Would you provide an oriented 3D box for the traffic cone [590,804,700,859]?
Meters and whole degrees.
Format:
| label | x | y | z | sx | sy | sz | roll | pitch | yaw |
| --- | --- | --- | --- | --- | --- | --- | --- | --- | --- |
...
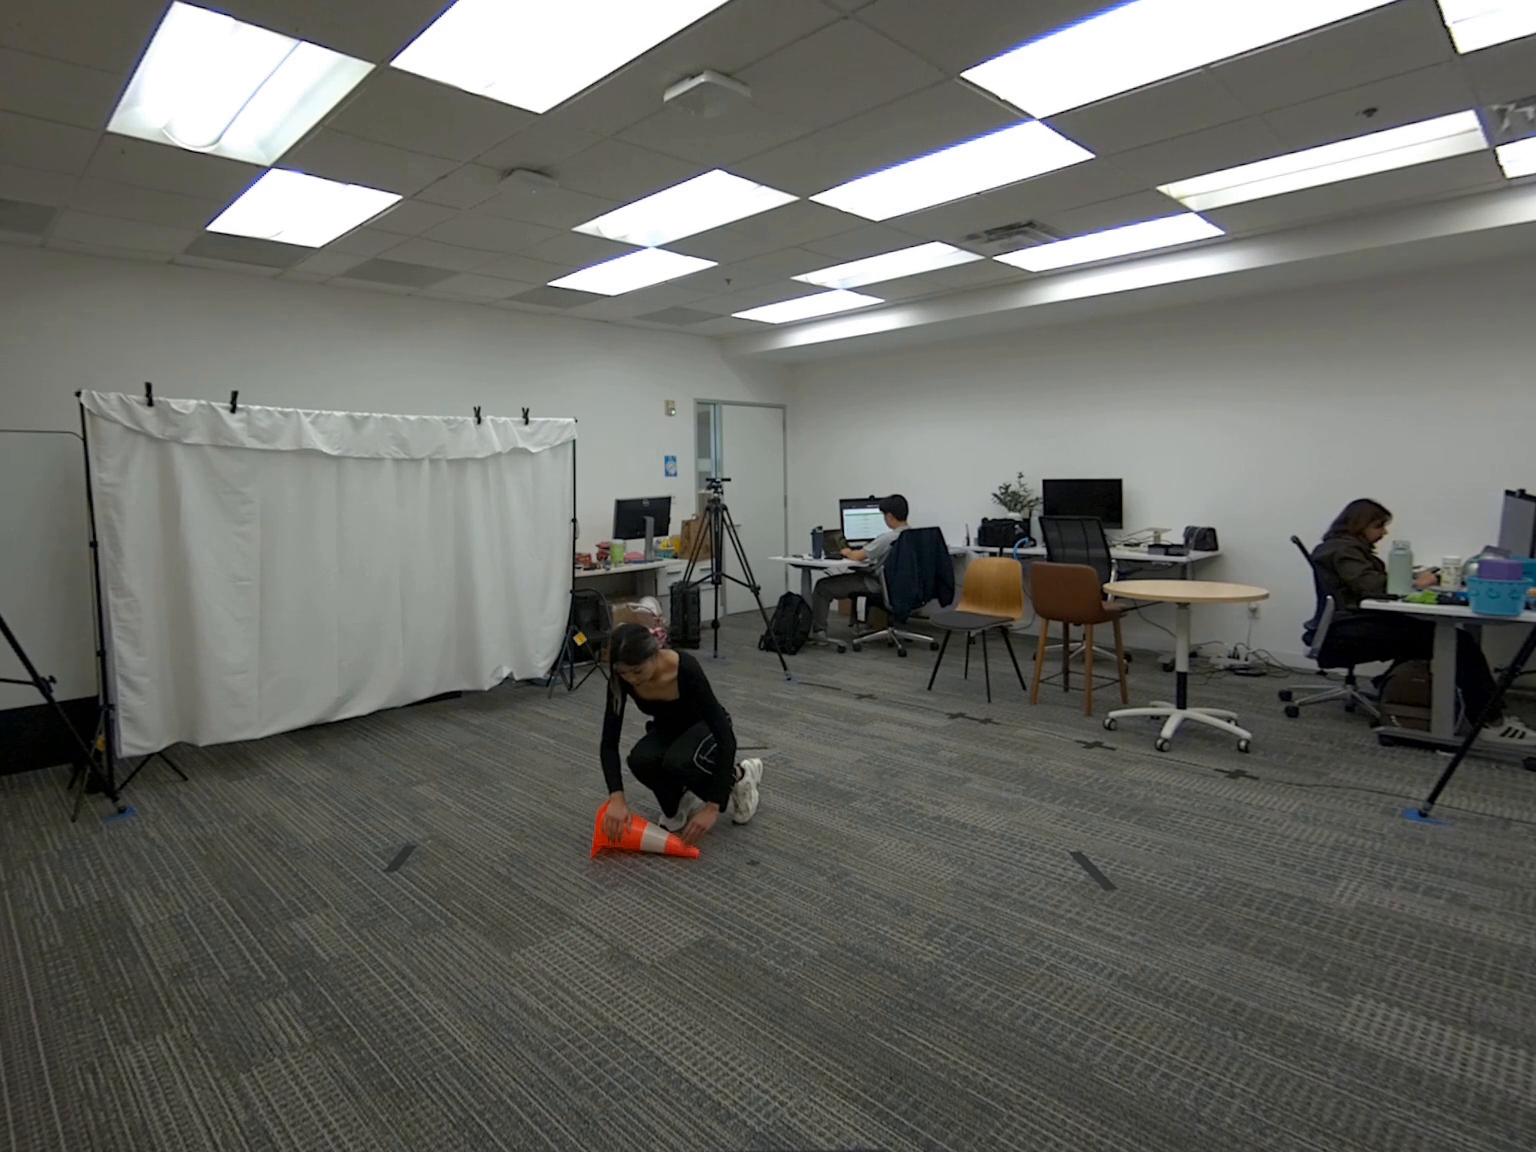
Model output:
| label | x | y | z | sx | sy | sz | roll | pitch | yaw |
| --- | --- | --- | --- | --- | --- | --- | --- | --- | --- |
| traffic cone | -0.432 | 0.975 | 3.192 | 0.390 | 0.201 | 0.204 | 11 | 13 | 14 |
